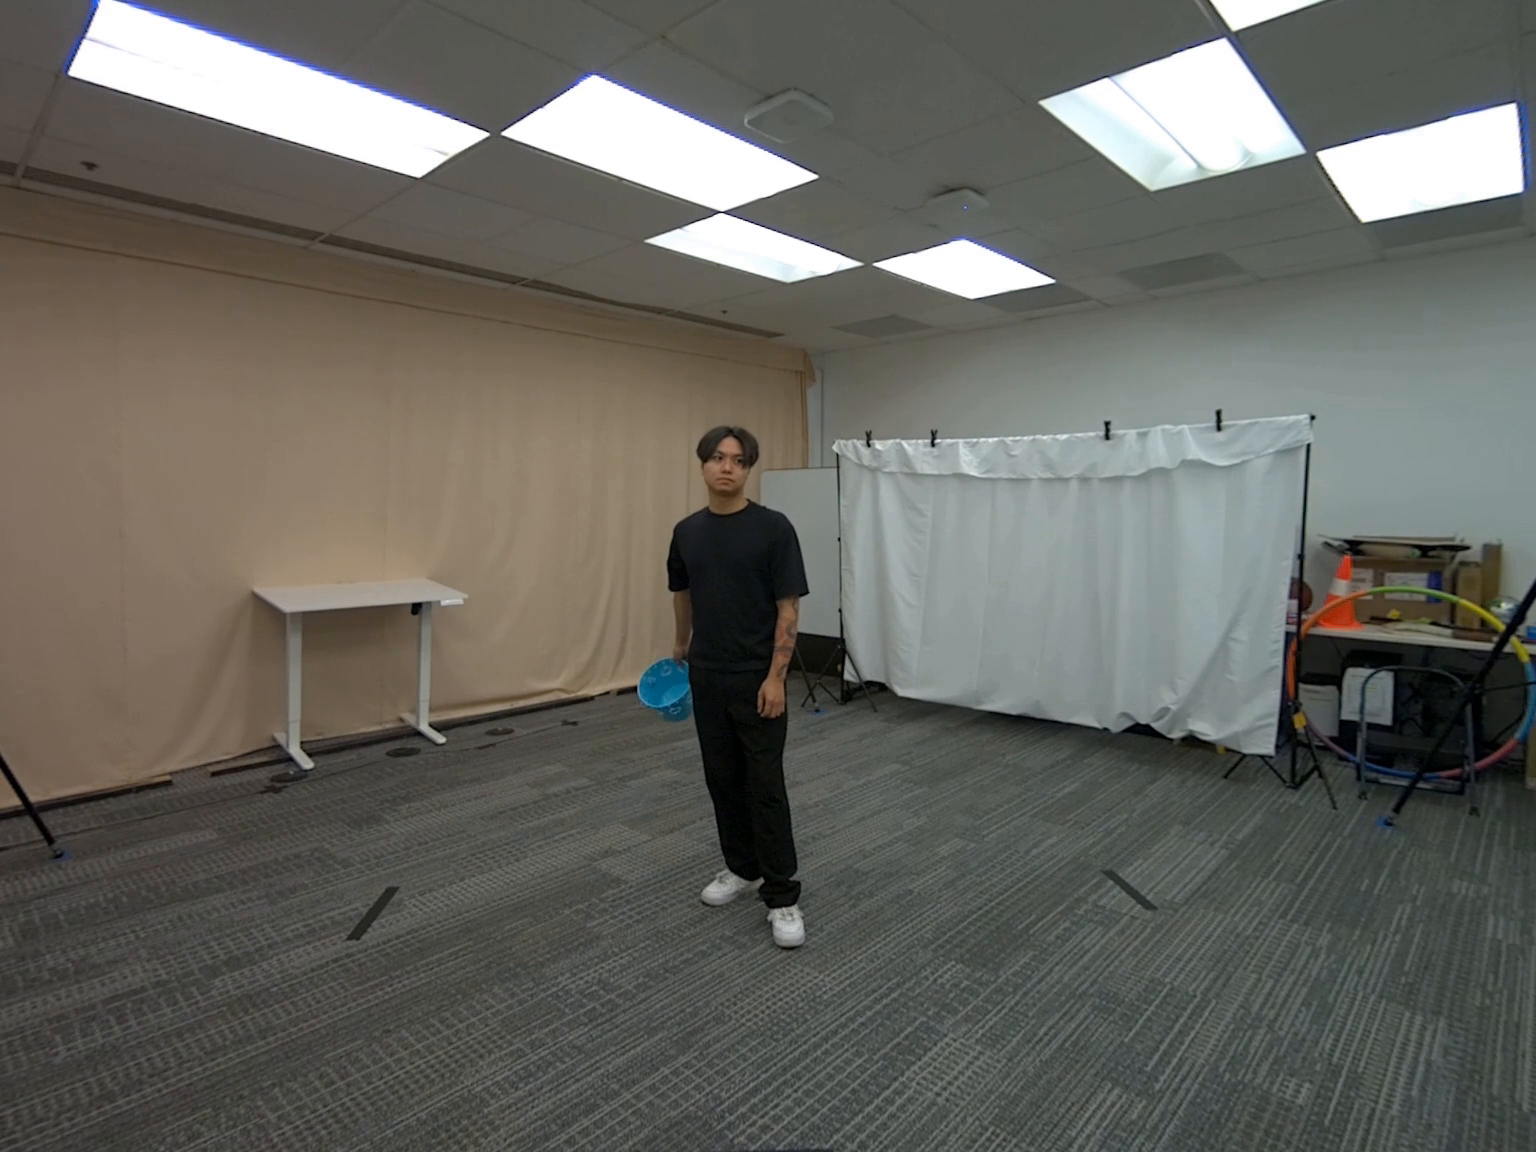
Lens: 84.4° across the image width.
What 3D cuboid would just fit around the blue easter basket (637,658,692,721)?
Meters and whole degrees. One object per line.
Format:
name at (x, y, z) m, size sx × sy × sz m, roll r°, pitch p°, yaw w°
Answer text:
blue easter basket at (-0.381, 0.459, 3.341) m, size 0.246 × 0.151 × 0.248 m, roll -14°, pitch 45°, yaw 12°
